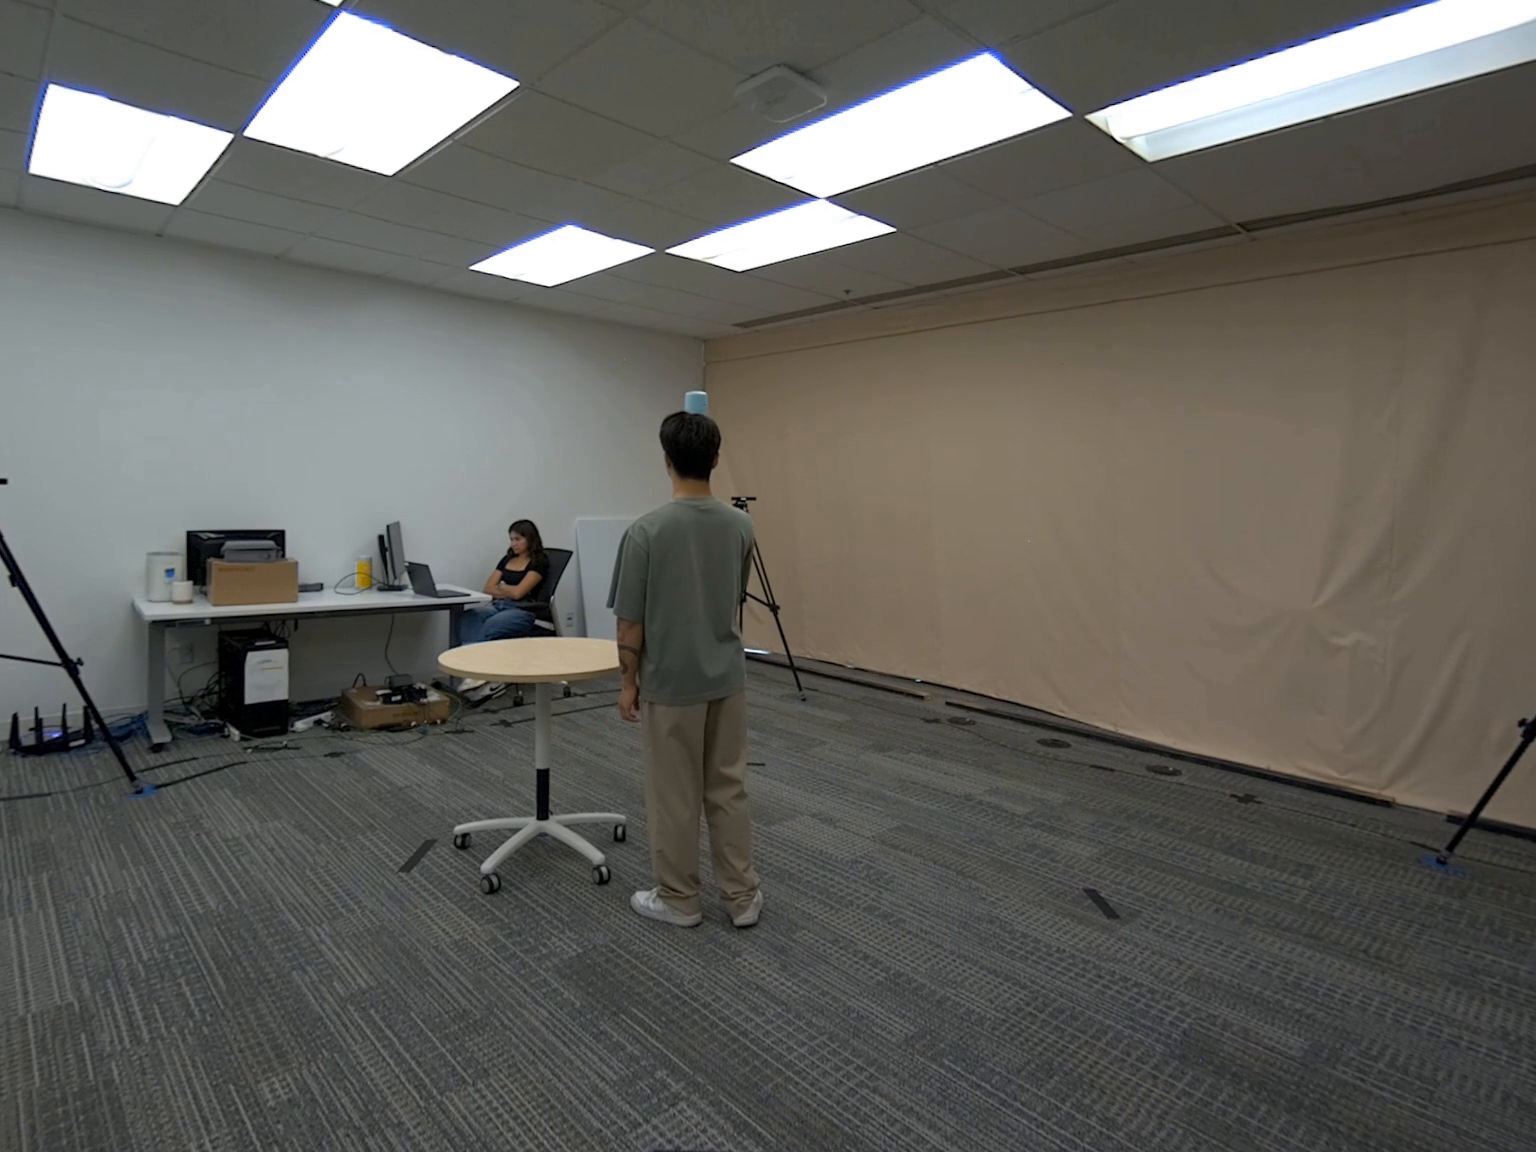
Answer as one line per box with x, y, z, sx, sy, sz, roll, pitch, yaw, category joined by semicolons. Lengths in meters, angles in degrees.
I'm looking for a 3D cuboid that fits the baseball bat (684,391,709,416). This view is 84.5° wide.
-0.281;-0.435;3.233;0.089;0.538;0.090;1;12;-2;baseball bat
